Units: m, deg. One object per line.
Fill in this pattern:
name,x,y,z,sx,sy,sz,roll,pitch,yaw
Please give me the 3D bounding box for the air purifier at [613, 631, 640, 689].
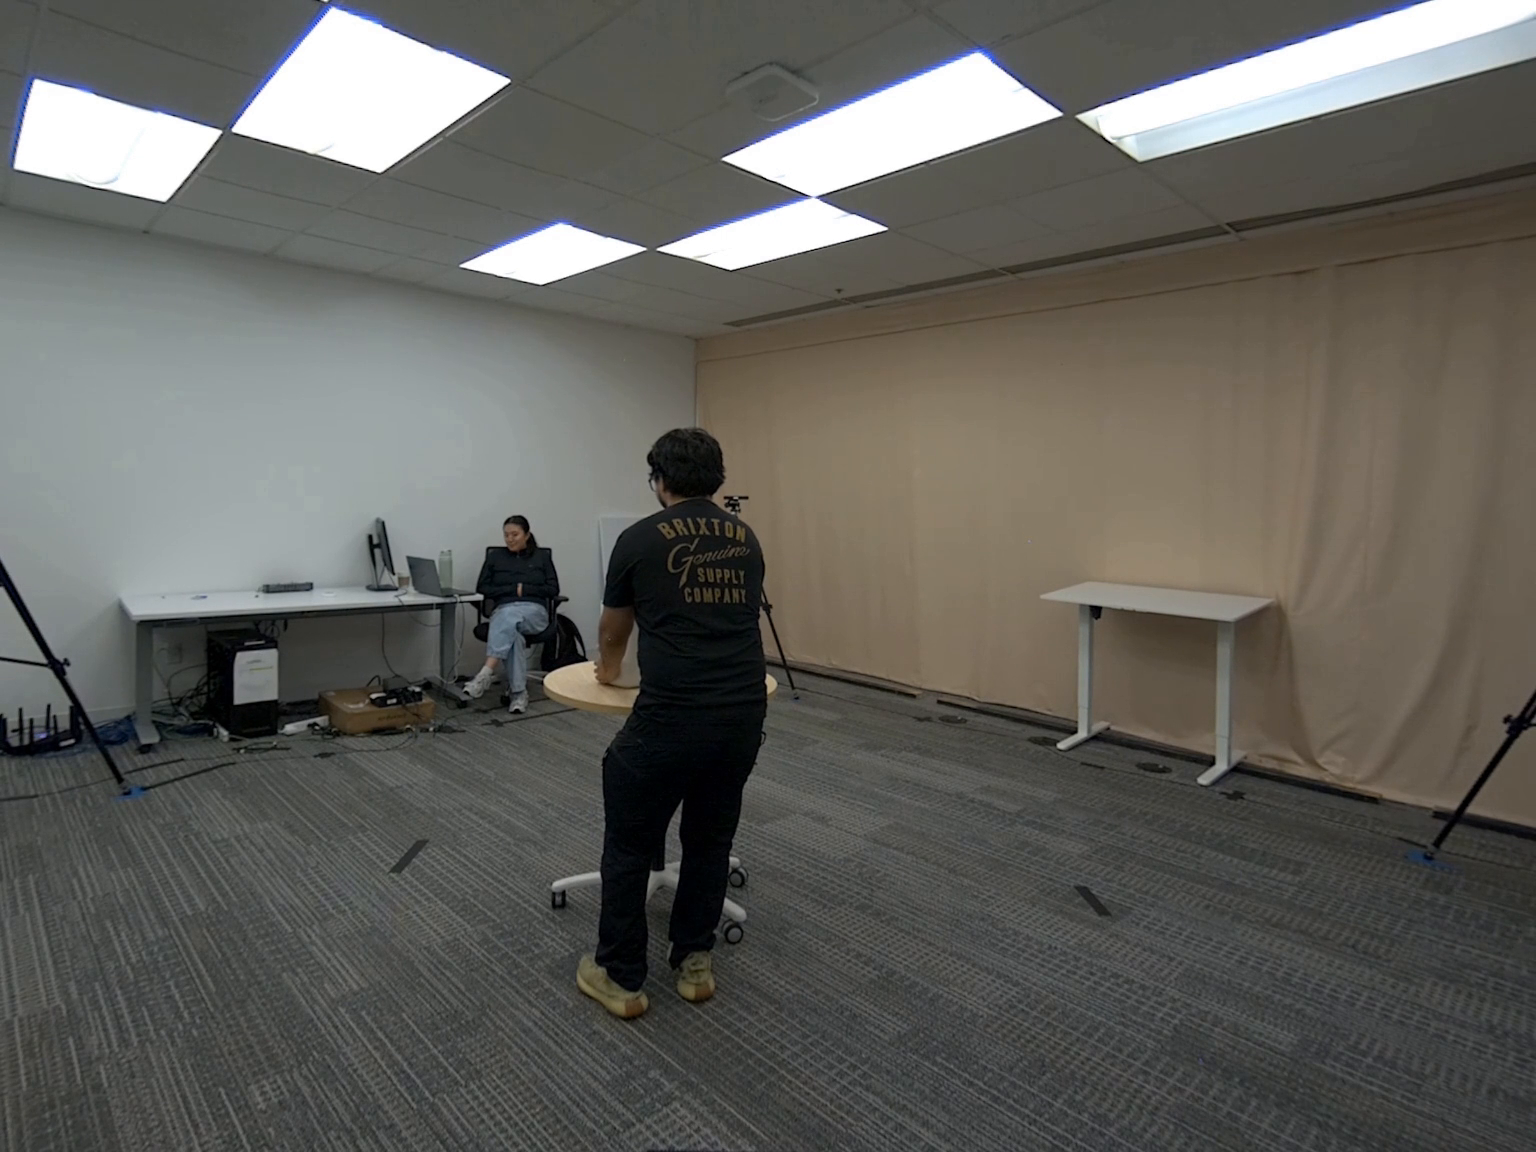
air purifier,-0.446,0.219,2.711,0.176,0.265,0.167,4,4,37
